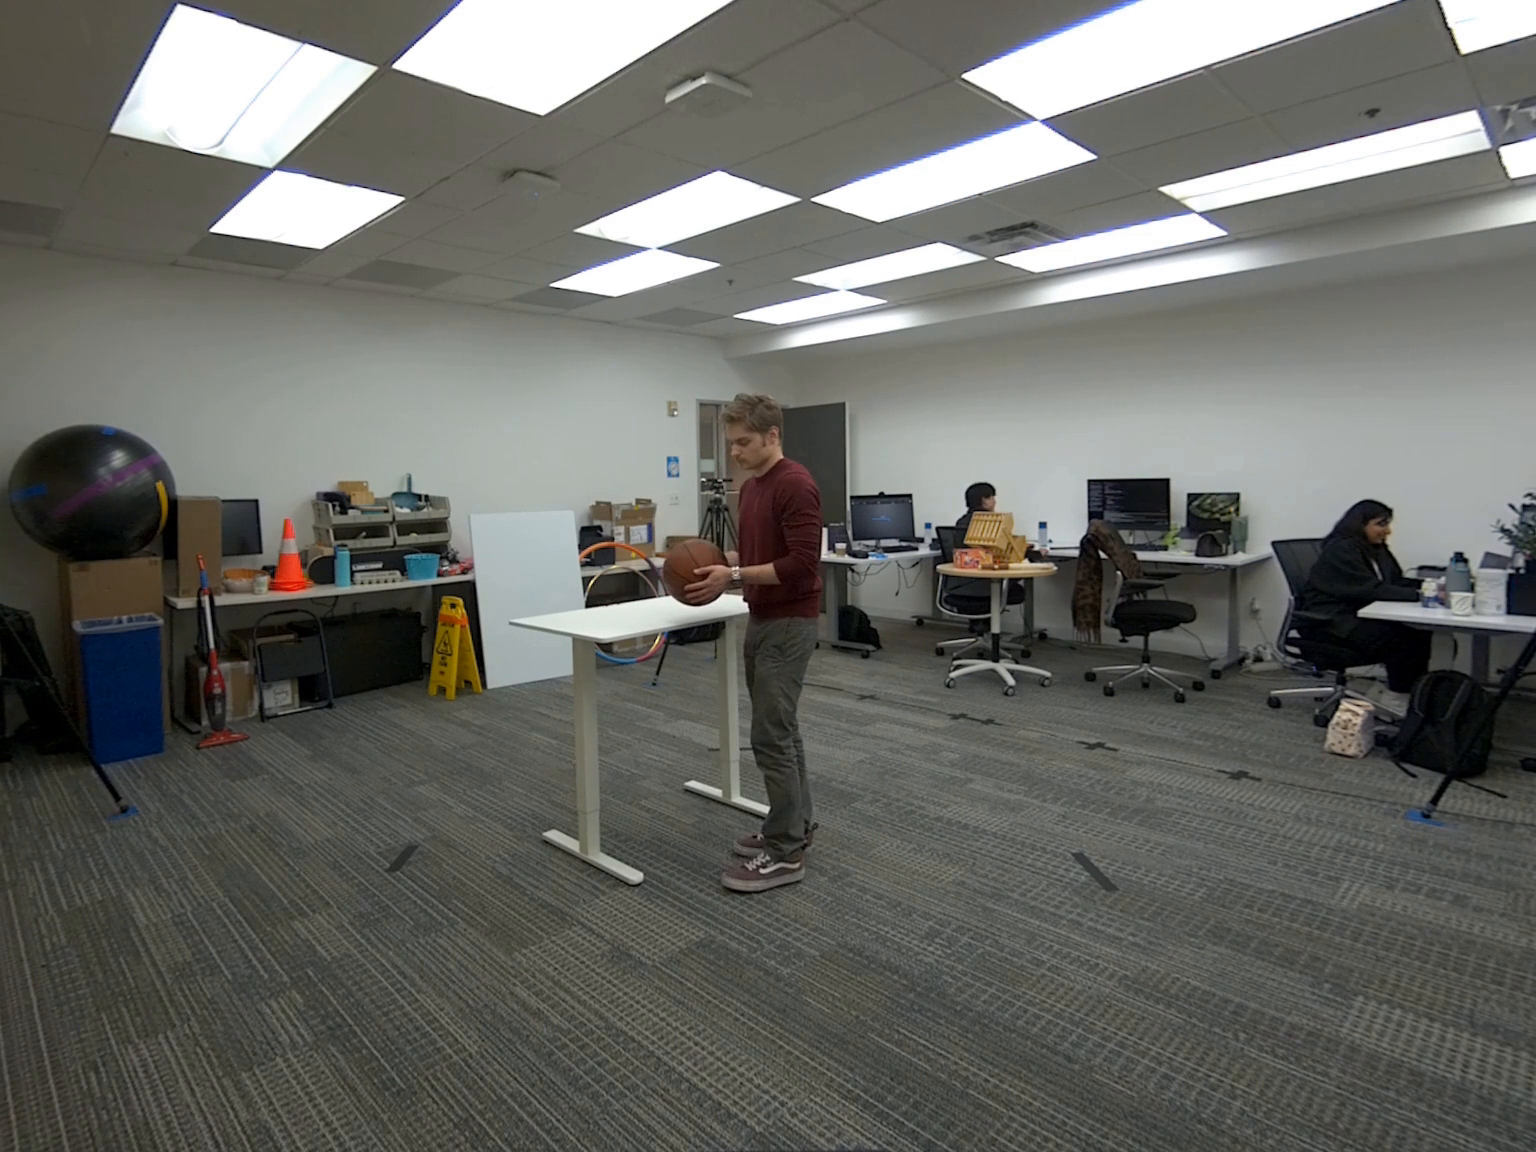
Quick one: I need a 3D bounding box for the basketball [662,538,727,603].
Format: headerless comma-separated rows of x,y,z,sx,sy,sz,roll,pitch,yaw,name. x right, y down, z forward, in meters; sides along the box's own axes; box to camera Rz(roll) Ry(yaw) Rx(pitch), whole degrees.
-0.253,-0.012,3.030,0.236,0.235,0.237,-1,5,-2,basketball
